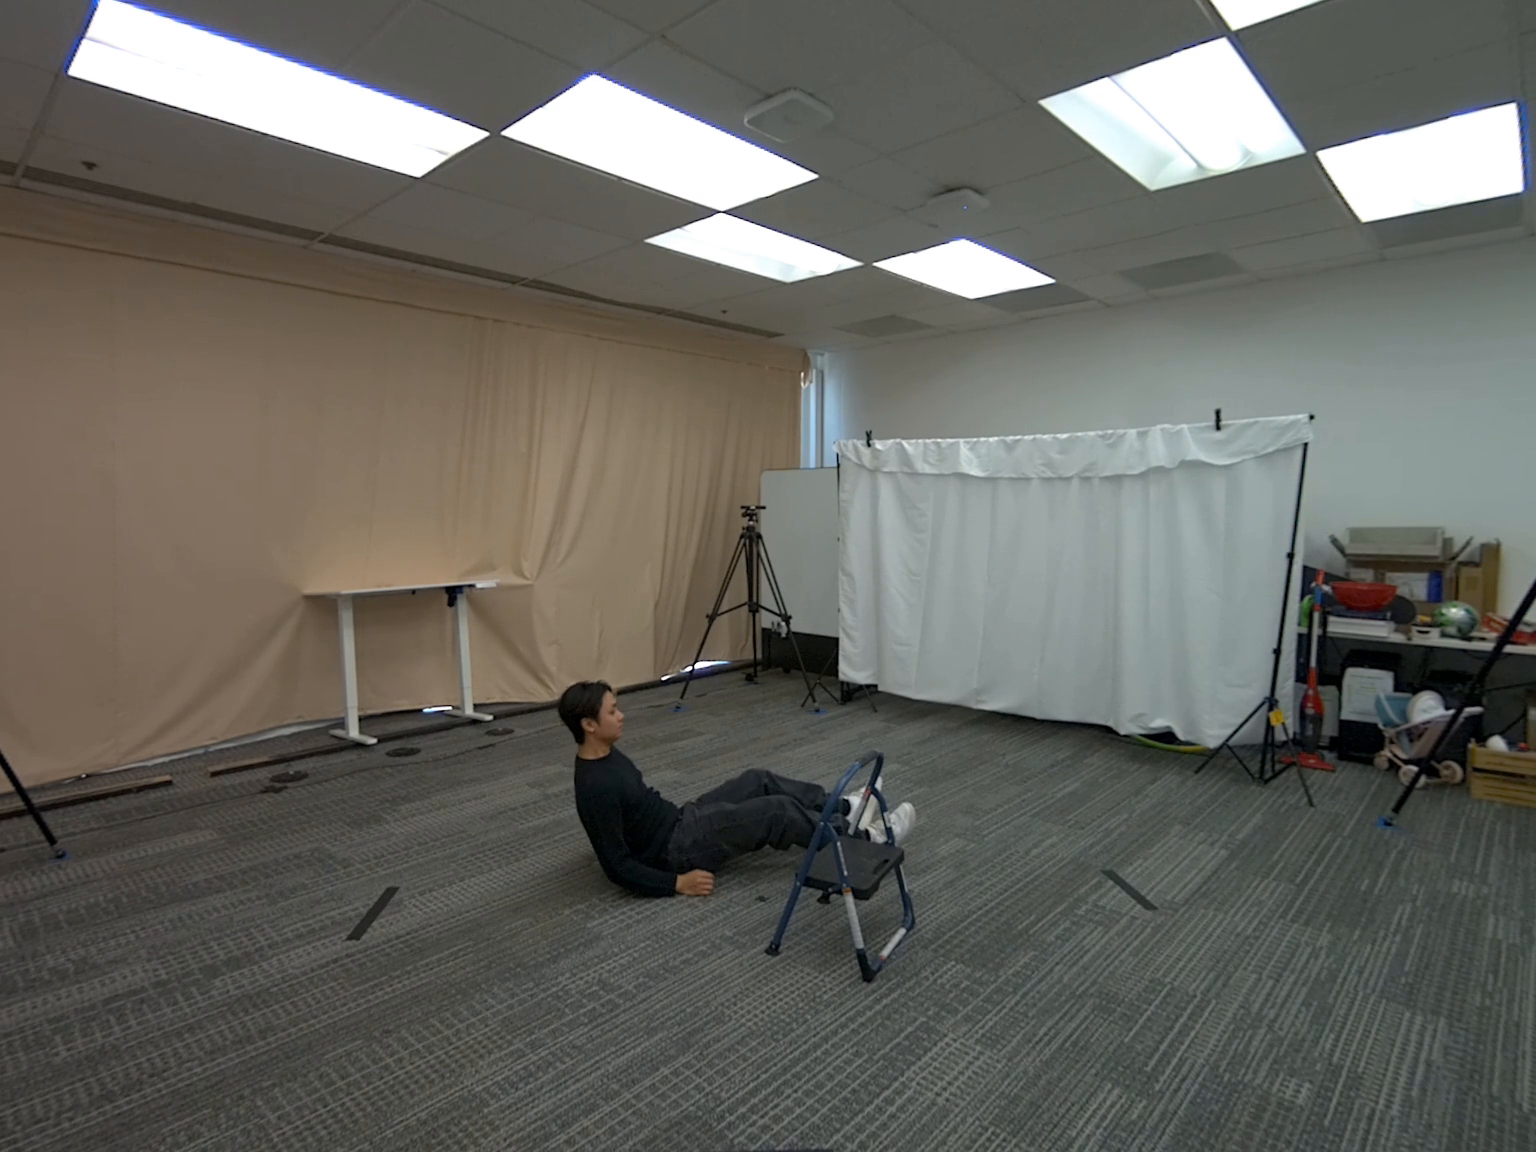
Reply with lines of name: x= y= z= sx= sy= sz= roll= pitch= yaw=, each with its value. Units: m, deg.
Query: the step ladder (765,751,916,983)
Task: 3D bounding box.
step ladder: x=0.247 y=0.863 z=2.695 sx=0.359 sy=0.605 sz=0.419 roll=1 pitch=4 yaw=29
